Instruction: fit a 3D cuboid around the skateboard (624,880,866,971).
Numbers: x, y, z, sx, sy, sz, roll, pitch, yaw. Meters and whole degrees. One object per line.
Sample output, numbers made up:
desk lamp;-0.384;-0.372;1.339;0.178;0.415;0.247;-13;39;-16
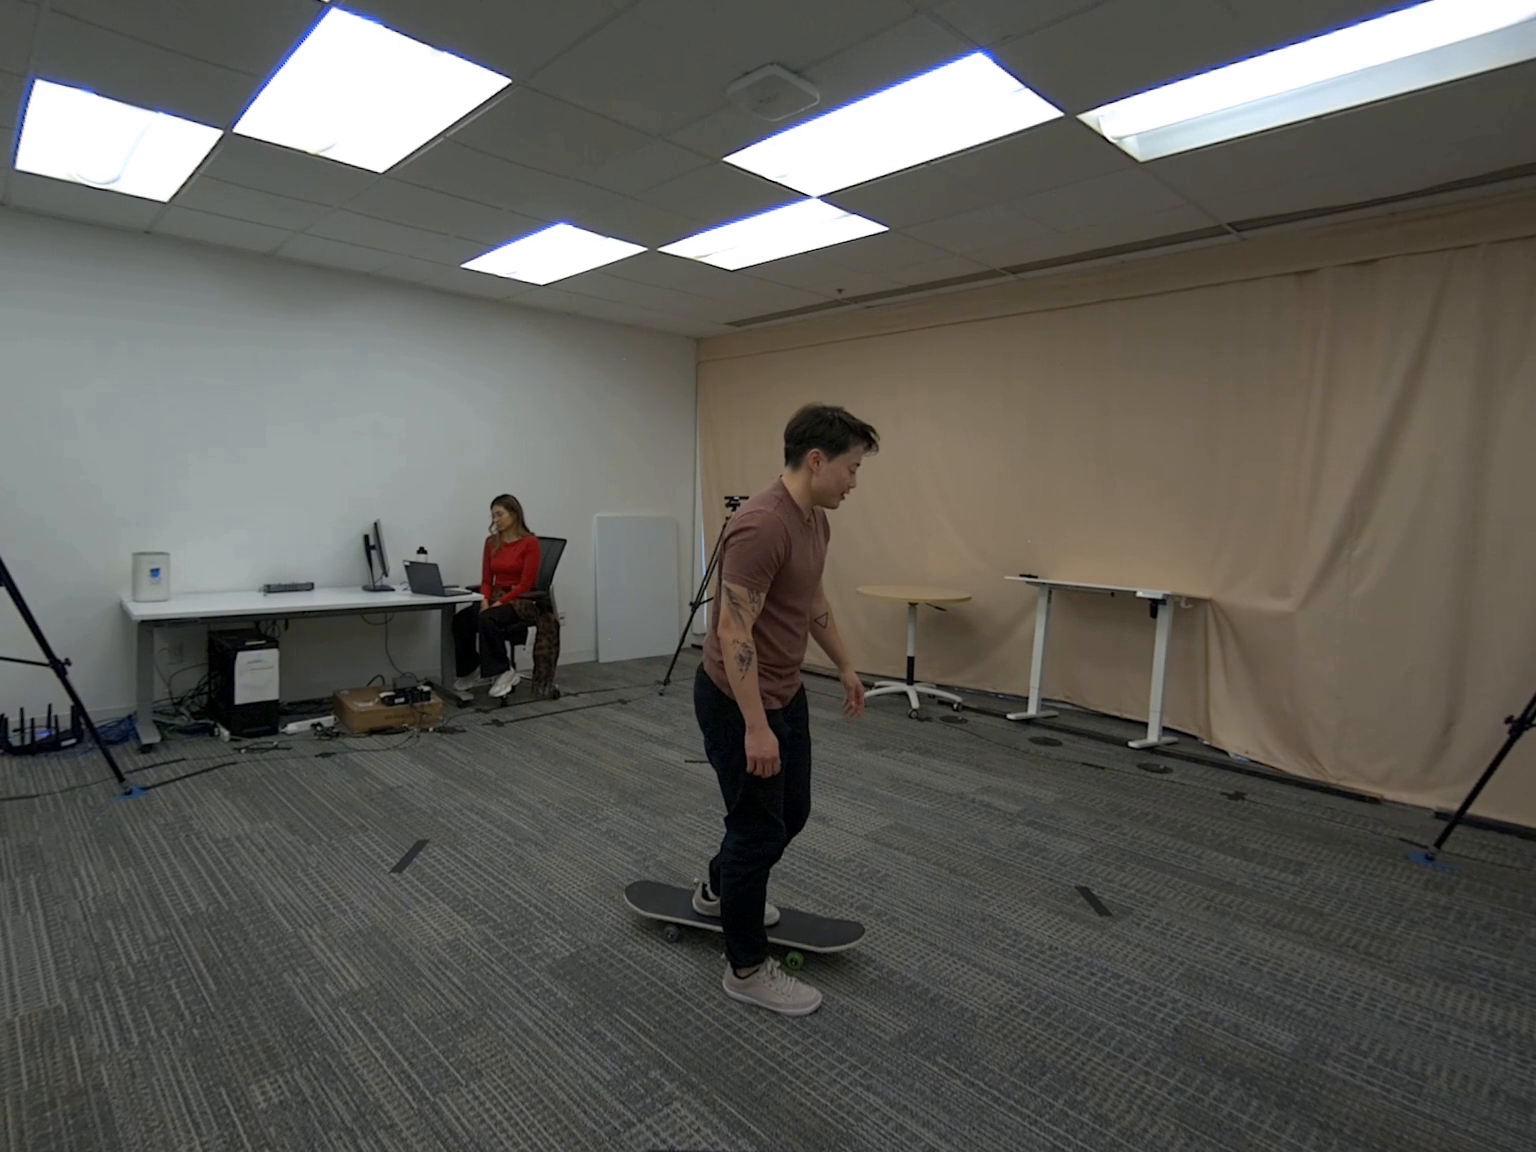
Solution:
skateboard;-0.089;1.094;2.624;0.798;0.110;0.191;3;5;19
